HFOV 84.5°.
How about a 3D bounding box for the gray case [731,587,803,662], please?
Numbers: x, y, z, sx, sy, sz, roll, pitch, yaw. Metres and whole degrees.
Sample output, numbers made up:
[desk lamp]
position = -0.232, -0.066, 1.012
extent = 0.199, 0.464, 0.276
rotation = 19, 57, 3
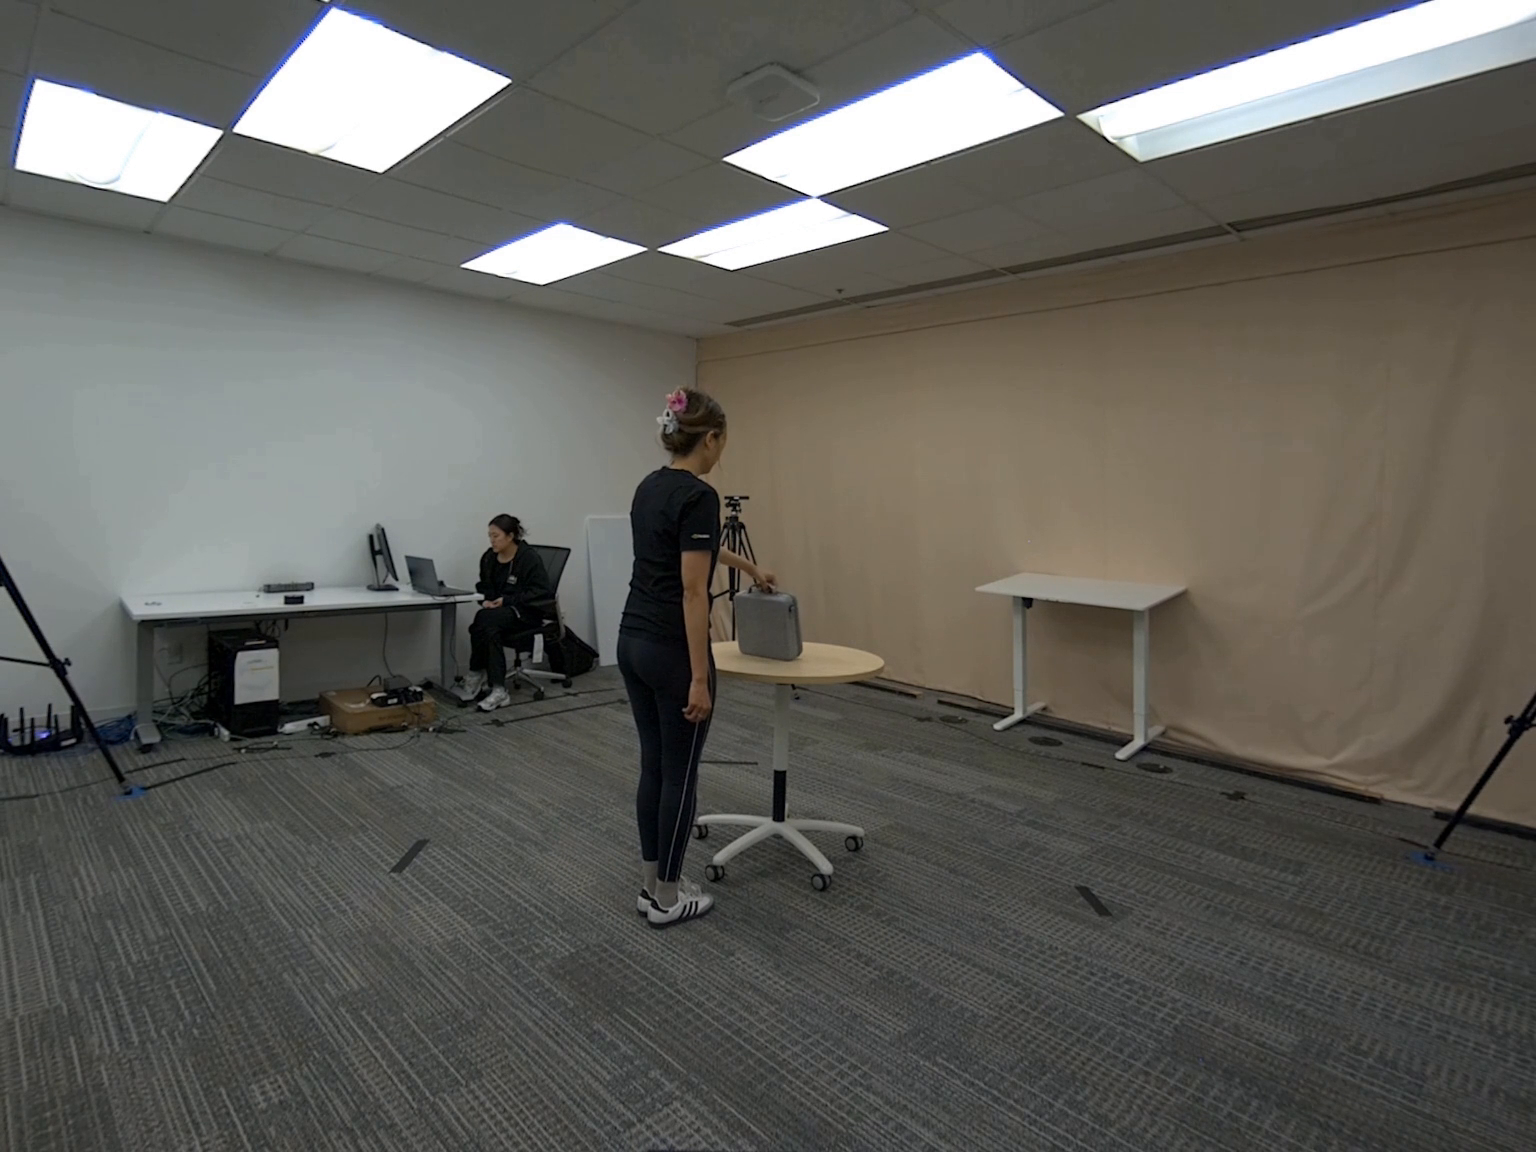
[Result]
[gray case]
position = -0.005, 0.180, 3.219
extent = 0.263, 0.258, 0.103
rotation = 3, 16, 37
